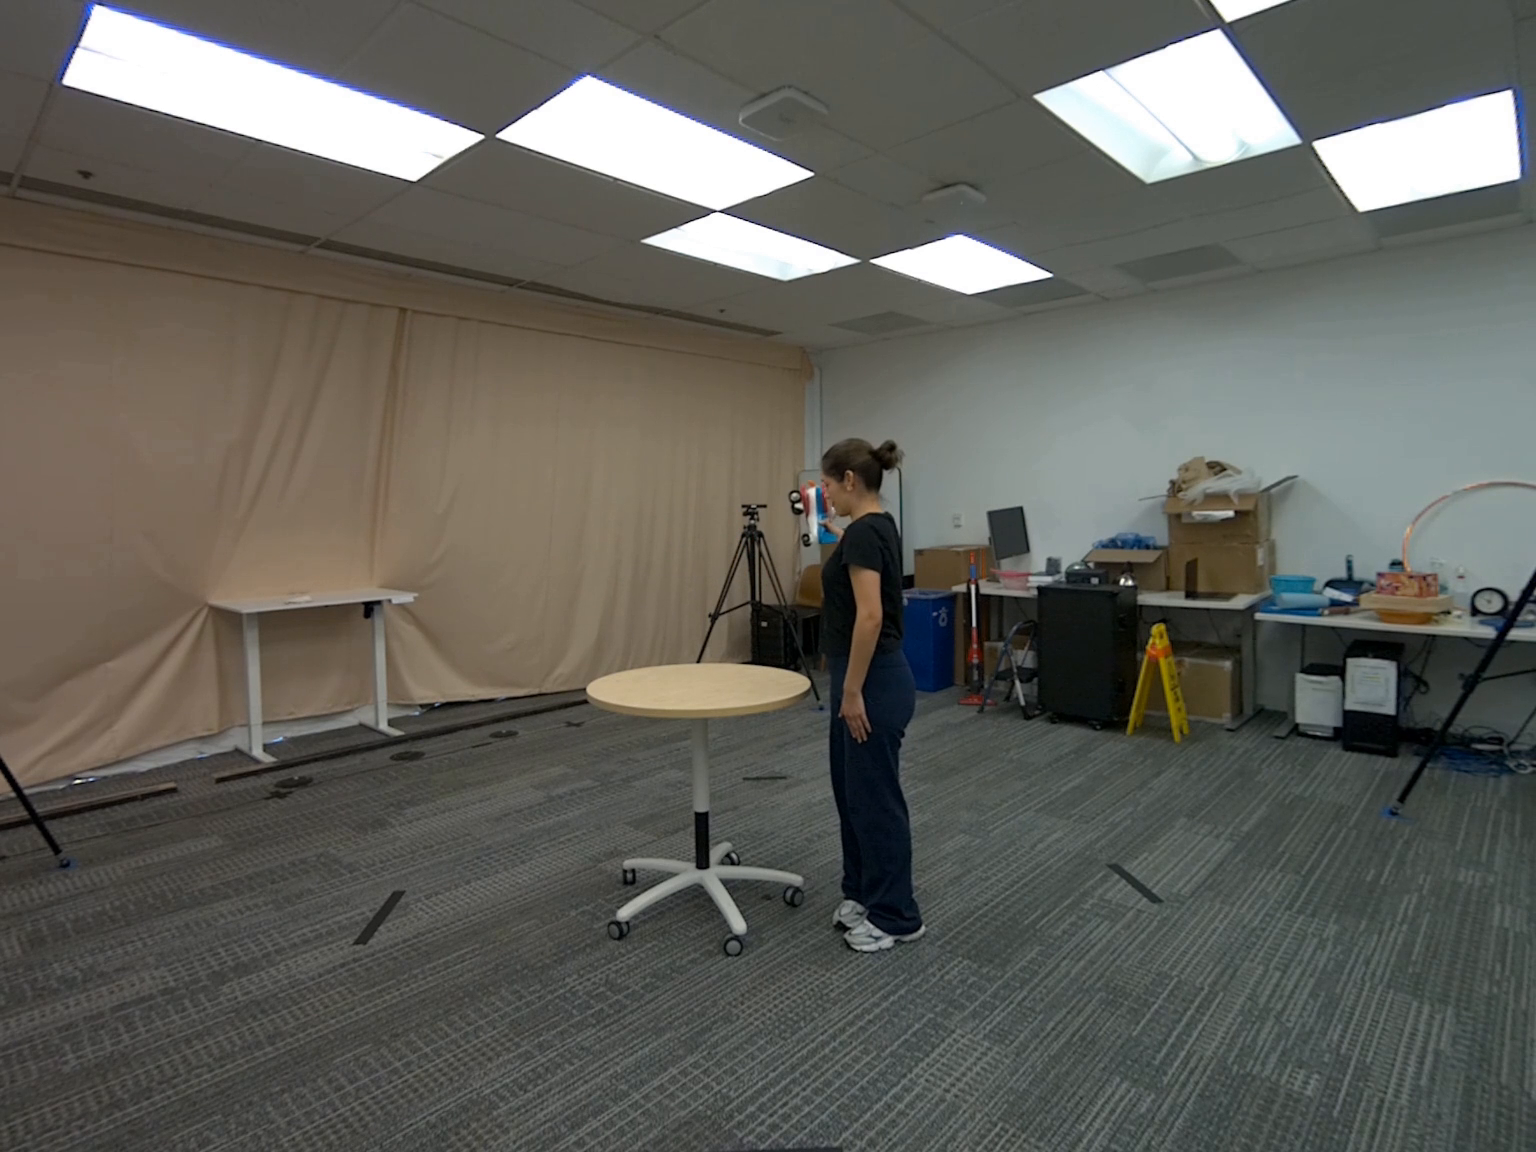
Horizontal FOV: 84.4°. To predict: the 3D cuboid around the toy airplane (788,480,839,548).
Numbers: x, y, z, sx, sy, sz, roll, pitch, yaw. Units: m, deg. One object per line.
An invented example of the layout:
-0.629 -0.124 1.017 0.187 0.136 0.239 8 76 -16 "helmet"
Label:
0.188 -0.217 3.284 0.156 0.260 0.250 -18 -2 0 "toy airplane"
